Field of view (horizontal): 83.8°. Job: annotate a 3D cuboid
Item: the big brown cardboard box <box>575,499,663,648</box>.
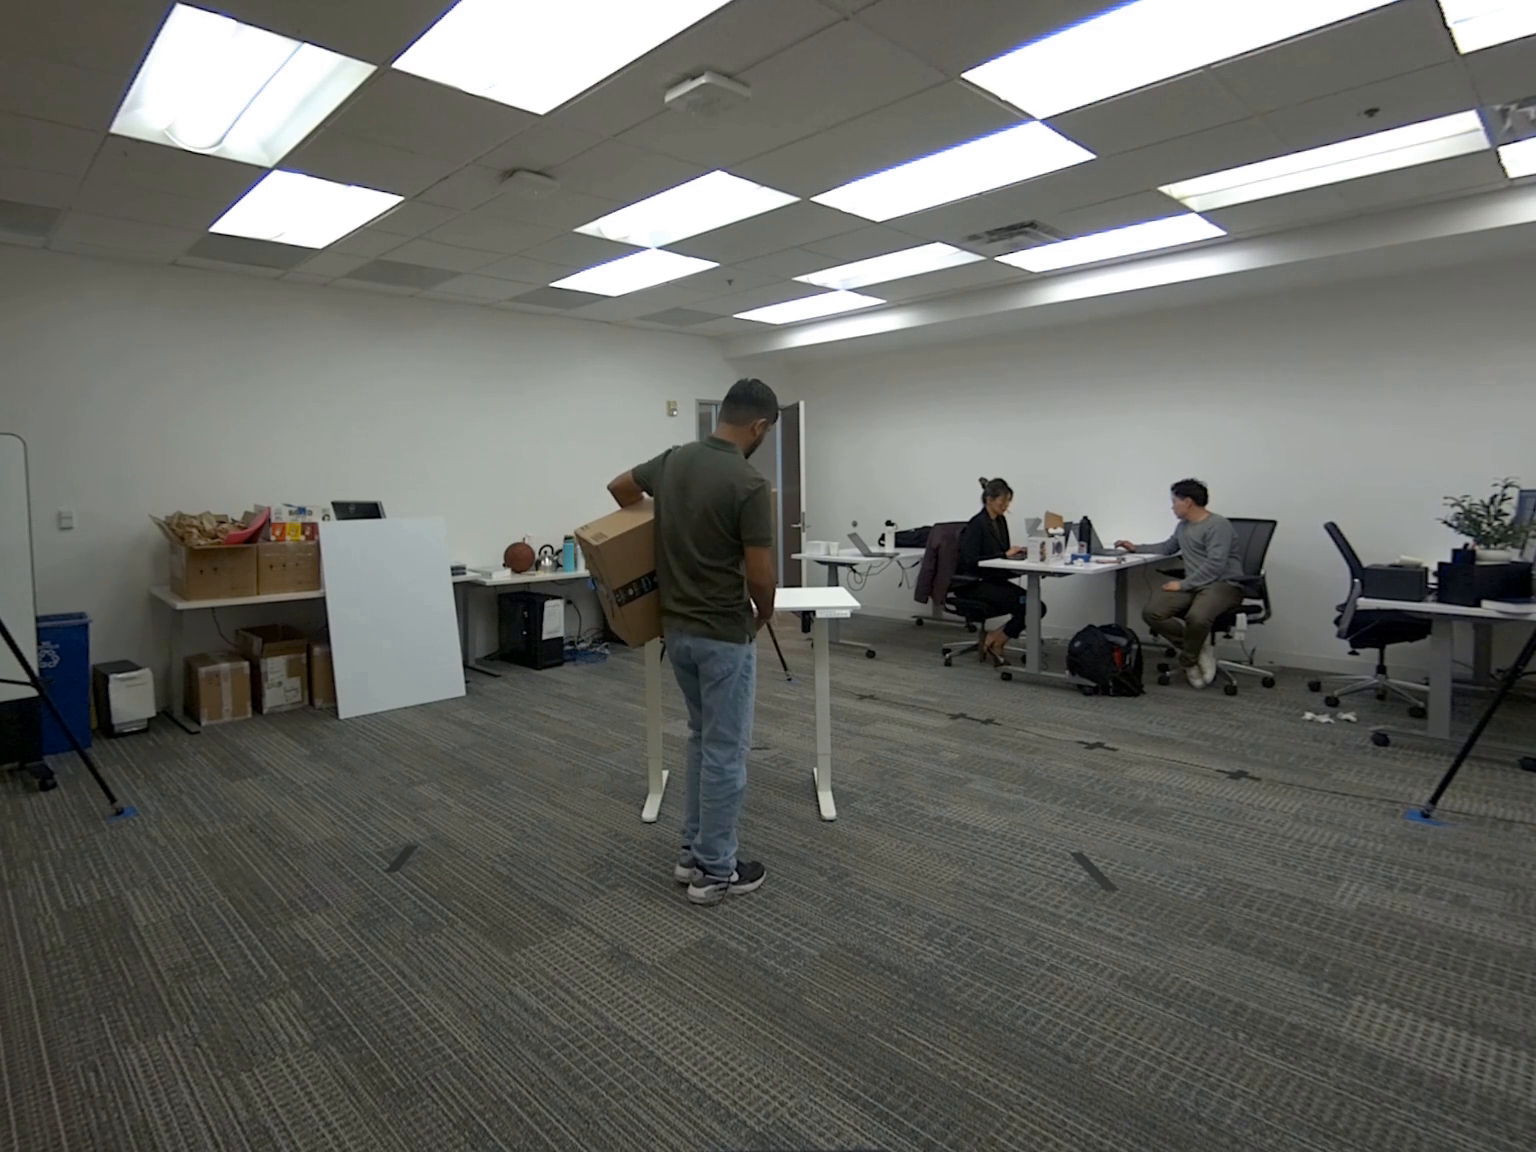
[{"bbox_3d":[-0.345,-0.065,3.071,0.583,0.407,0.241,-26,25,-23],"label":"big brown cardboard box"}]
